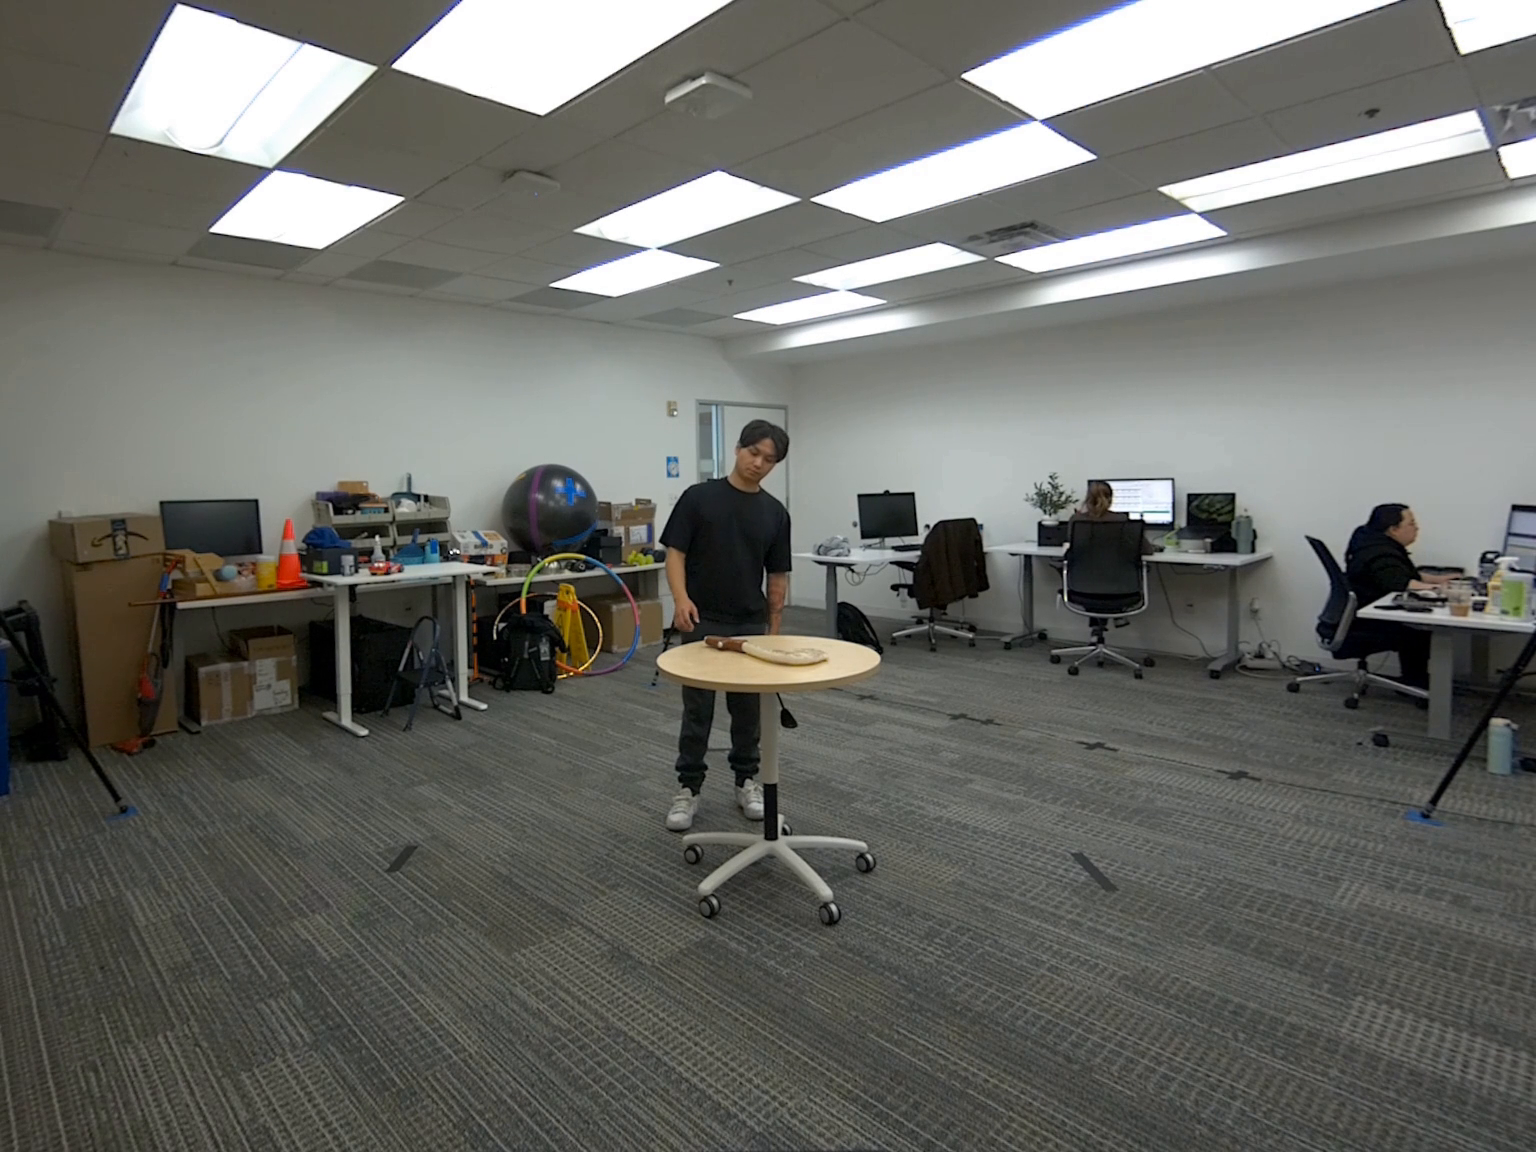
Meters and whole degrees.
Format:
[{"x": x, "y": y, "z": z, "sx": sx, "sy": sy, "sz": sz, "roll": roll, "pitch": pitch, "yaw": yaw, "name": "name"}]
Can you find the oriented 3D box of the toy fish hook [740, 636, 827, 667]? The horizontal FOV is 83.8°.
[{"x": -0.013, "y": 0.262, "z": 3.002, "sx": 0.218, "sy": 0.048, "sz": 0.523, "roll": 1, "pitch": 4, "yaw": -43, "name": "toy fish hook"}]
